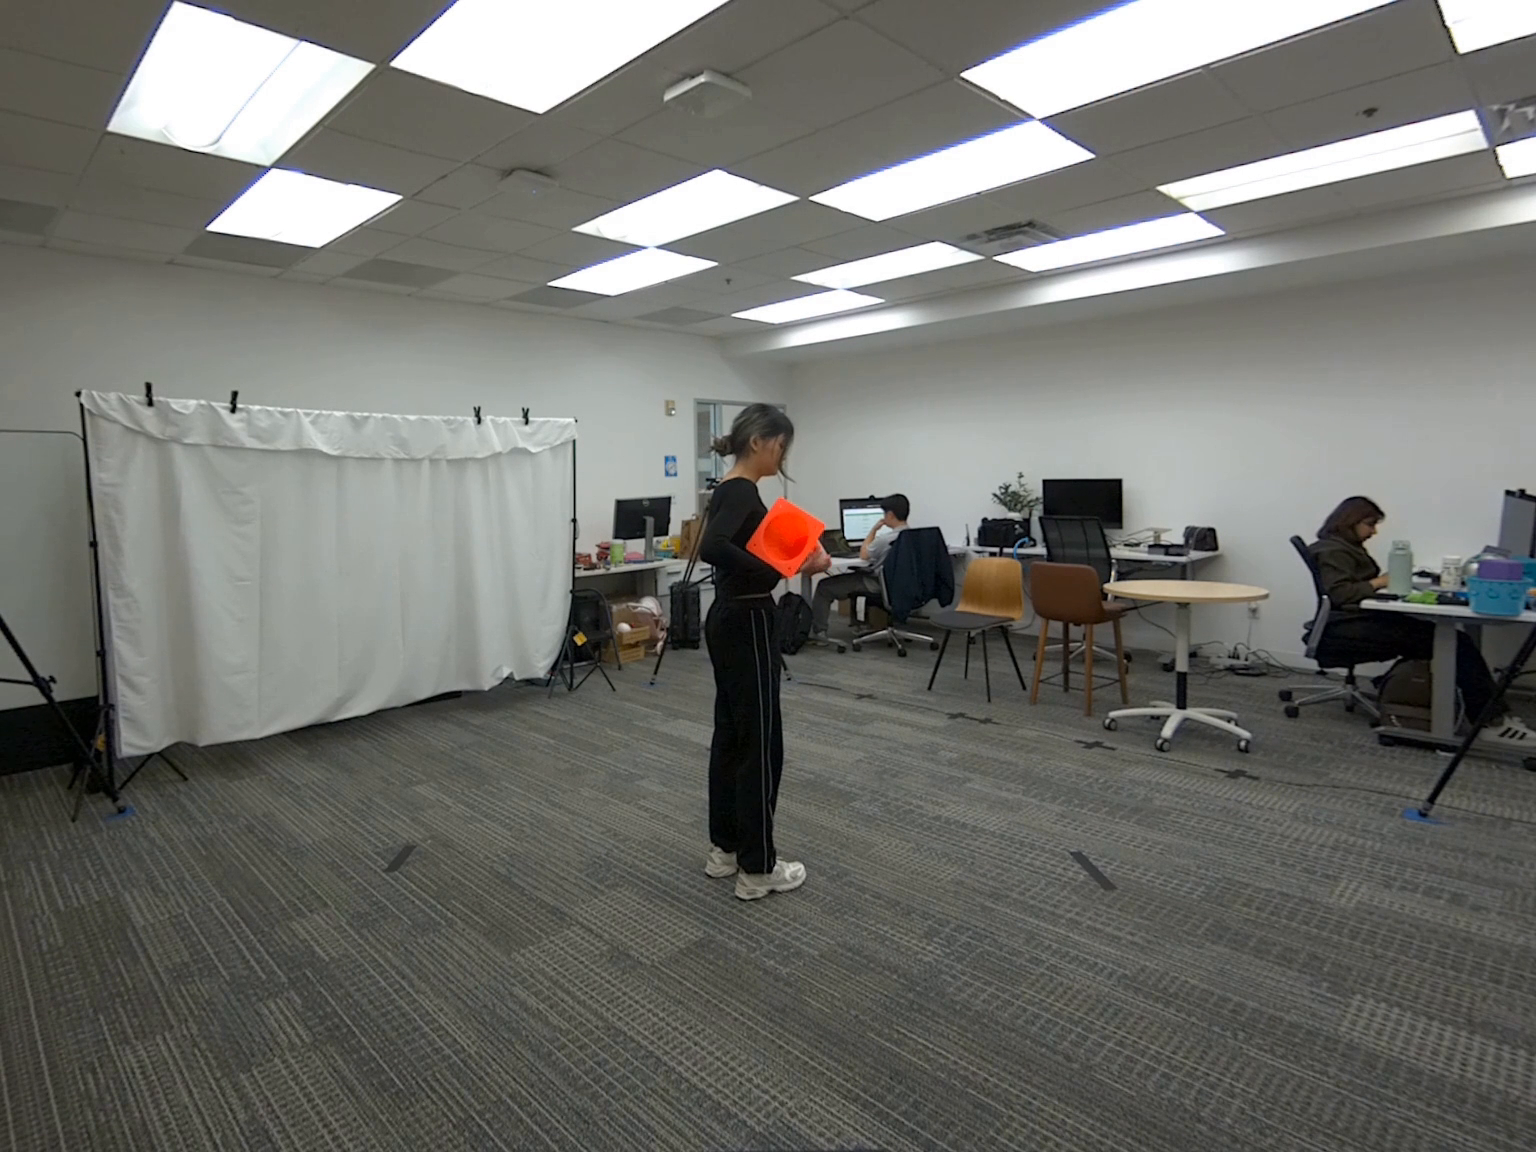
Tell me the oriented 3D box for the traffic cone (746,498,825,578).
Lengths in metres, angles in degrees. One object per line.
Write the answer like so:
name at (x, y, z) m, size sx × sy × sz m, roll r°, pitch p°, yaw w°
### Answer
traffic cone at (0.127, -0.077, 2.826) m, size 0.212 × 0.203 × 0.371 m, roll 35°, pitch 3°, yaw 30°
